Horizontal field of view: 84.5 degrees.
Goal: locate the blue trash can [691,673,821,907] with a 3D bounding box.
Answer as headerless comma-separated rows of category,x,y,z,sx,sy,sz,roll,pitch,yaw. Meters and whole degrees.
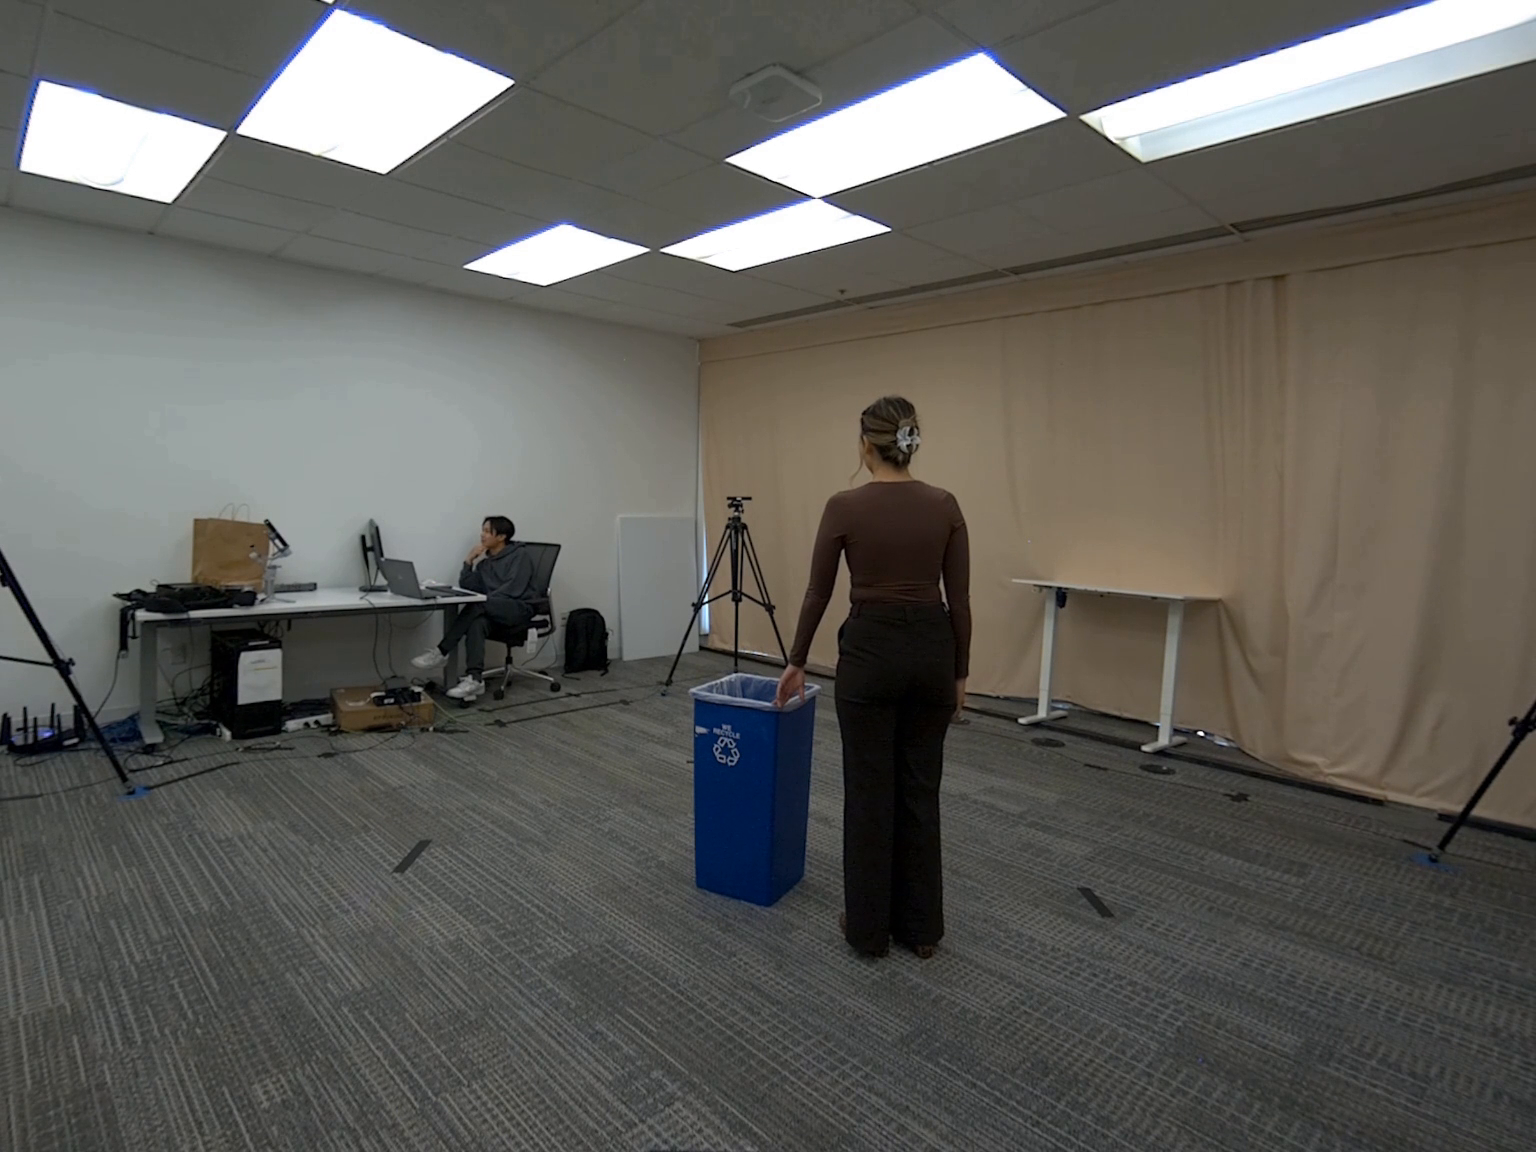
blue trash can,-0.054,0.754,3.044,0.382,0.712,0.371,3,4,28
